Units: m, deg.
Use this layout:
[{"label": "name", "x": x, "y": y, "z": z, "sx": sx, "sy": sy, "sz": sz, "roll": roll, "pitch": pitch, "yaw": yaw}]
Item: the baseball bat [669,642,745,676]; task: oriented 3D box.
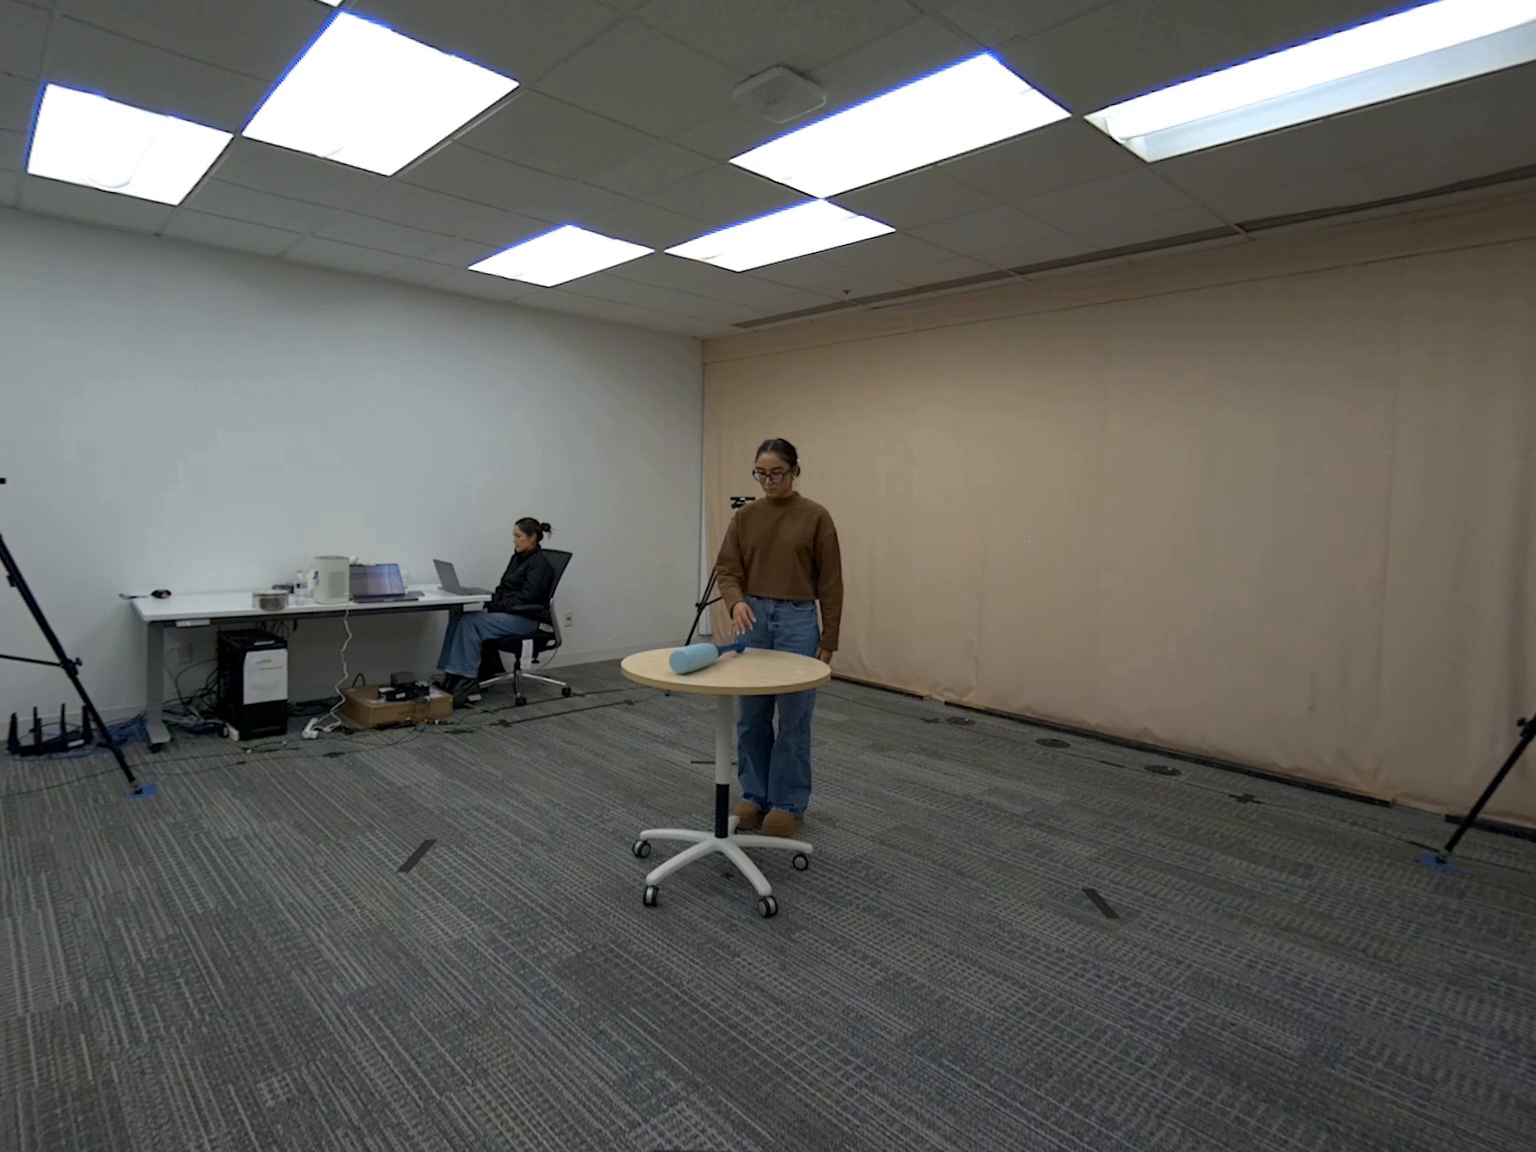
[{"label": "baseball bat", "x": -0.211, "y": 0.290, "z": 3.093, "sx": 0.090, "sy": 0.089, "sz": 0.534, "roll": 3, "pitch": 1, "yaw": 20}]
